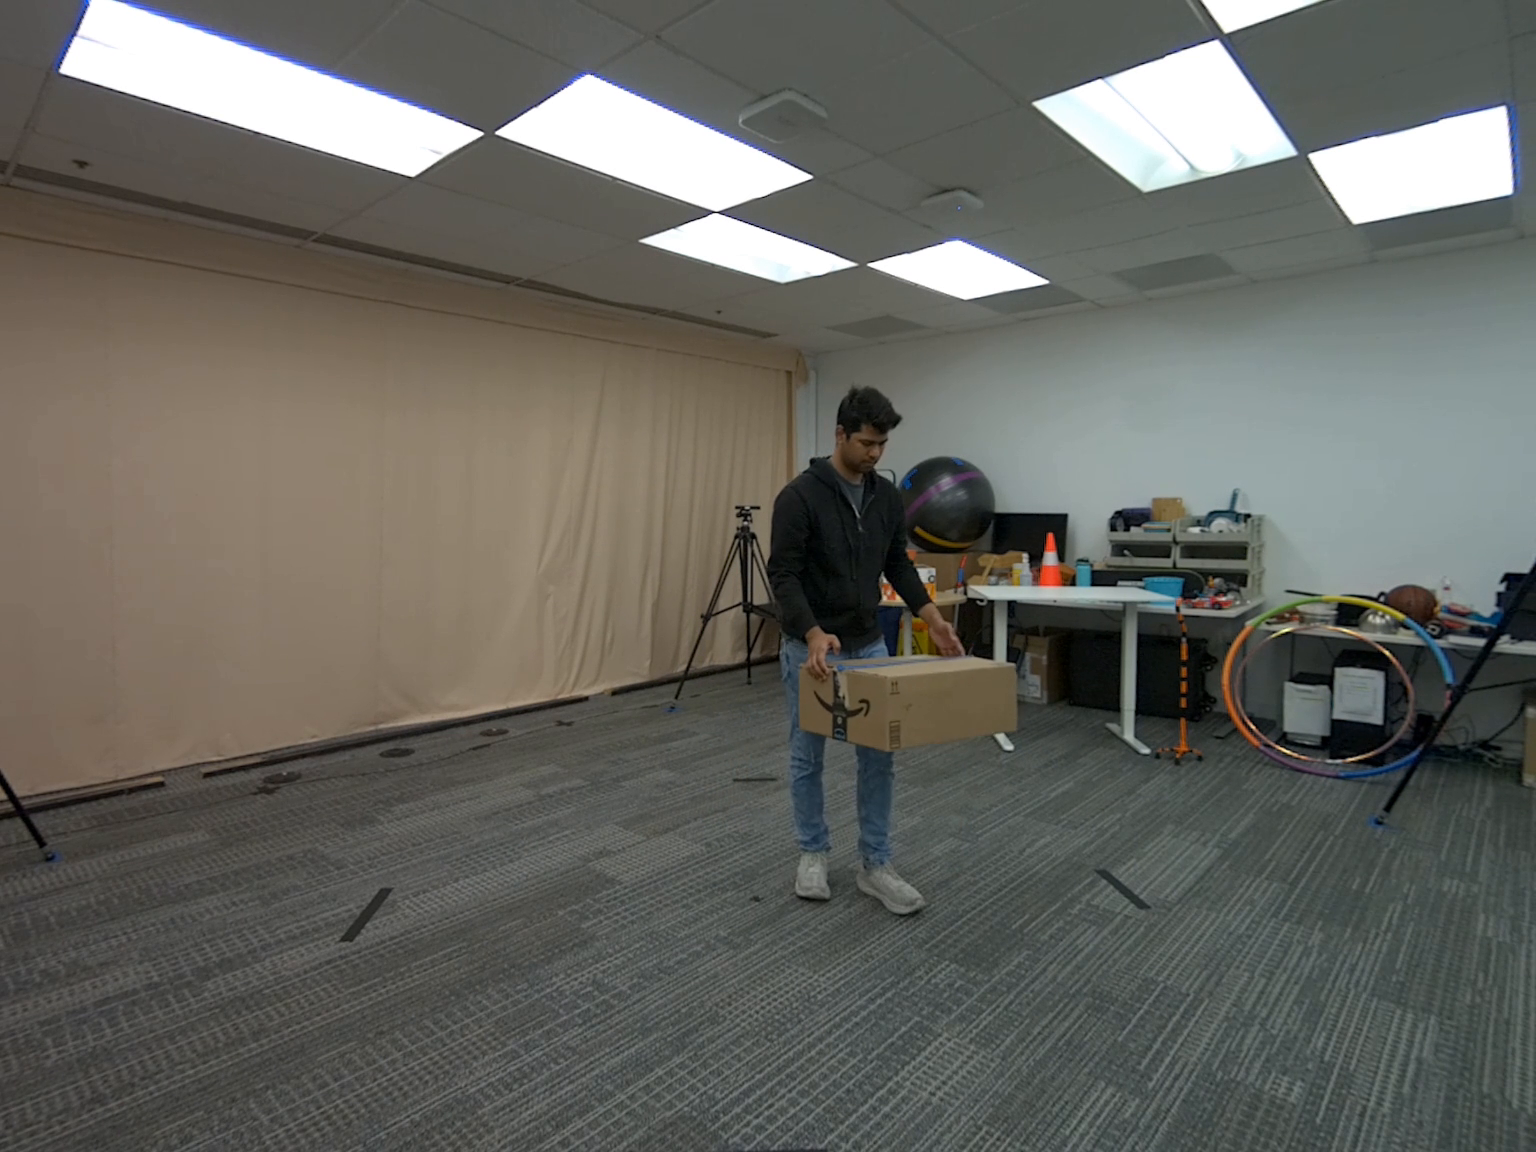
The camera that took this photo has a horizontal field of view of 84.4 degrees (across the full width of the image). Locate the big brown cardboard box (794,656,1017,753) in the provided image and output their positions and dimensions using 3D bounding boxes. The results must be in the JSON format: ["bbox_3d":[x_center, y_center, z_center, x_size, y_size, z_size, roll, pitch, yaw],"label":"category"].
[{"bbox_3d":[0.463,0.394,2.717,0.572,0.233,0.430,-1,0,-34],"label":"big brown cardboard box"}]
